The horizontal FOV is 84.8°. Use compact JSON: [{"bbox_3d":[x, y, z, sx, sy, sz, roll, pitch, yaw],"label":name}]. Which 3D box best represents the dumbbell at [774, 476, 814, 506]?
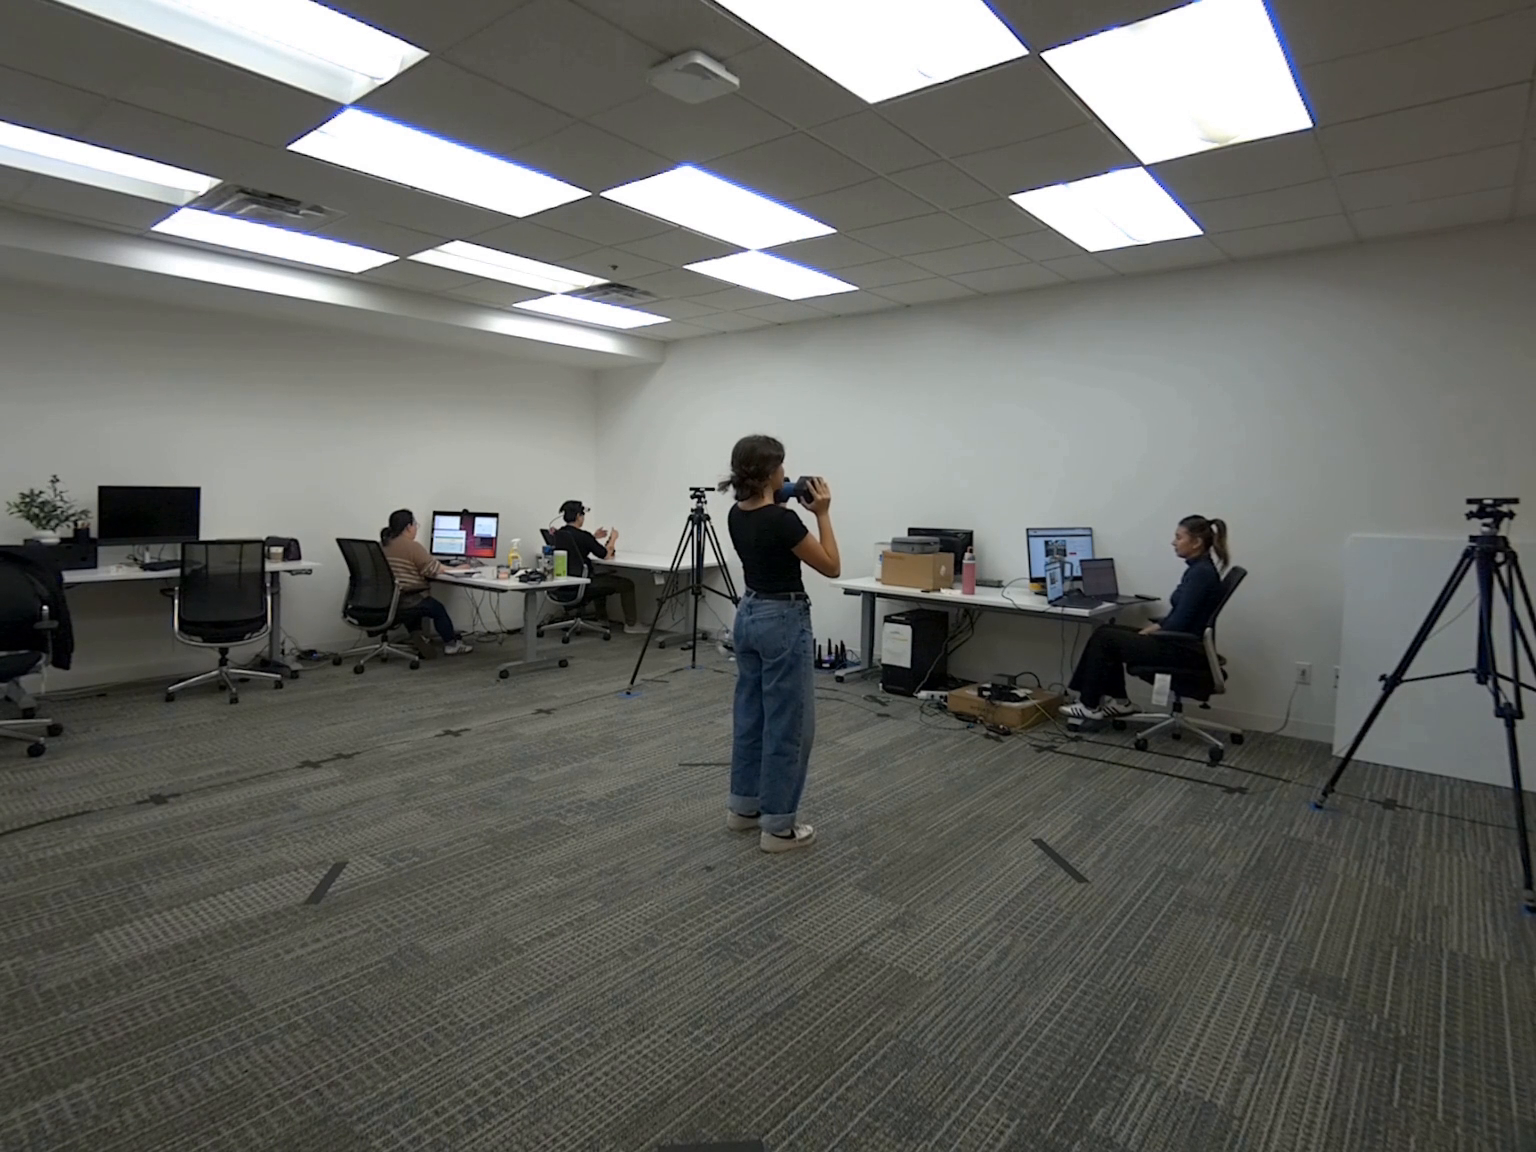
[{"bbox_3d":[0.087,-0.348,3.384,0.105,0.123,0.303,38,-16,-32],"label":"dumbbell"}]
